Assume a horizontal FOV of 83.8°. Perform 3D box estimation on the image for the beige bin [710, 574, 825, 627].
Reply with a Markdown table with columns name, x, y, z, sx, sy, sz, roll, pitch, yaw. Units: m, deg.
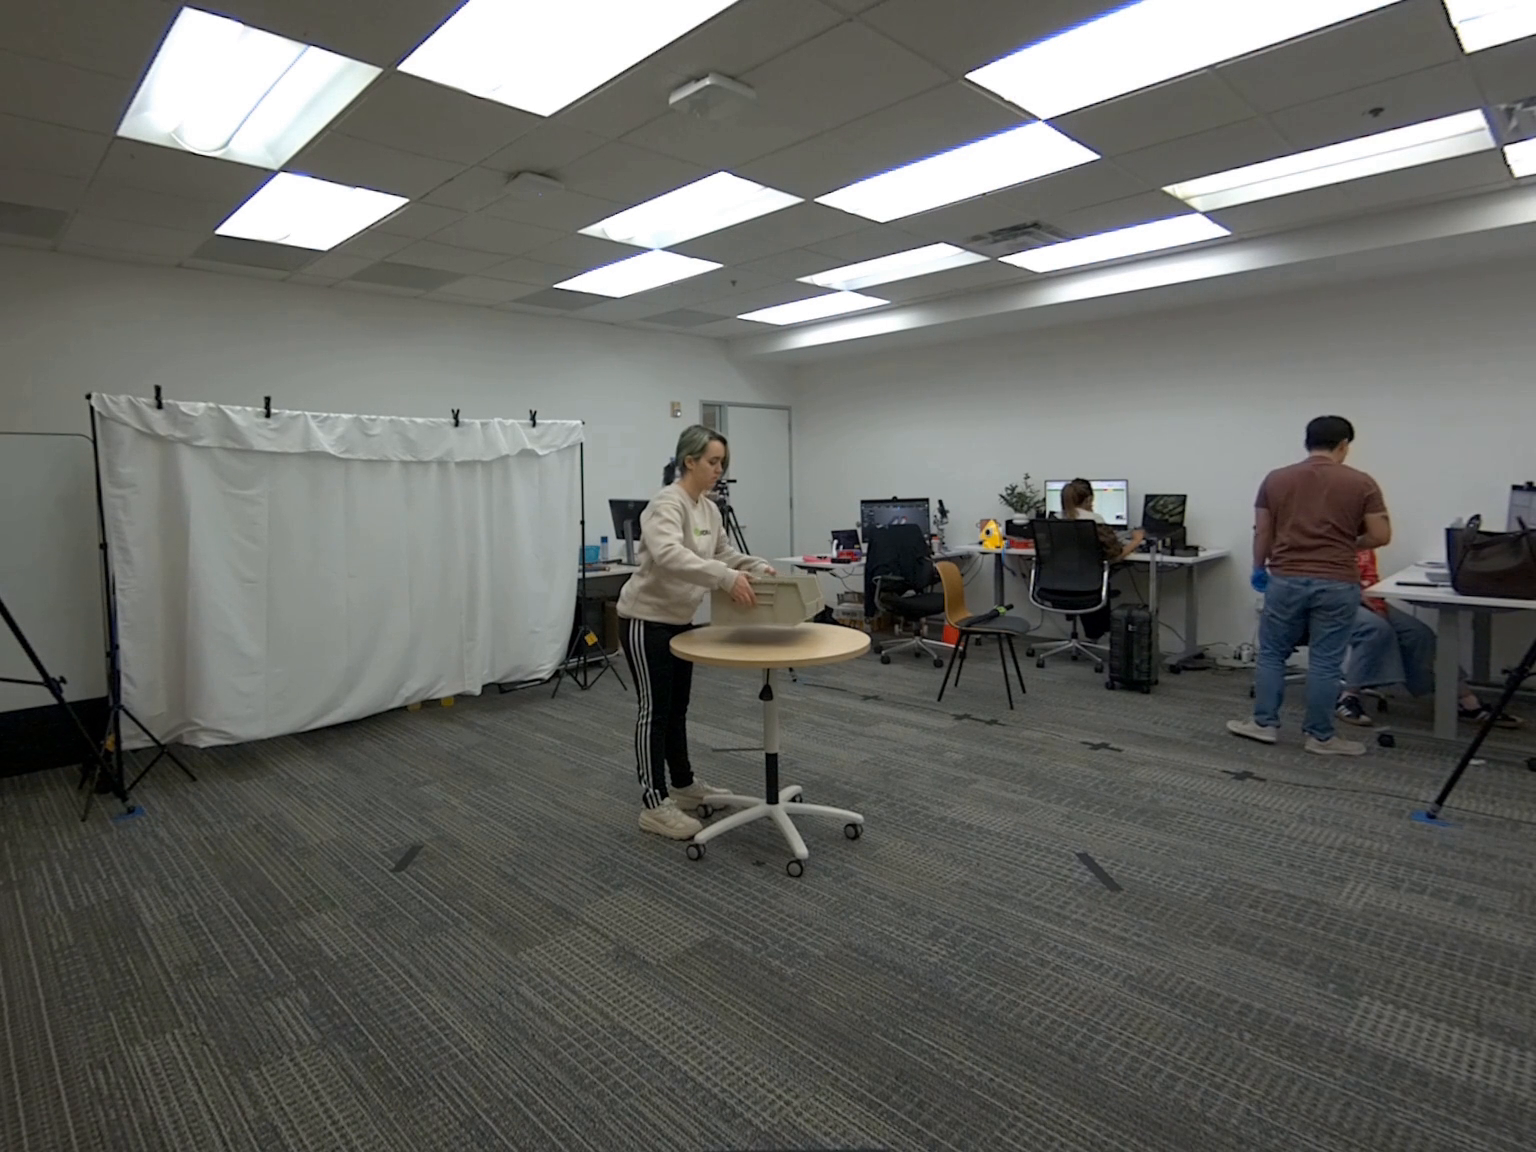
| name | x | y | z | sx | sy | sz | roll | pitch | yaw |
| --- | --- | --- | --- | --- | --- | --- | --- | --- | --- |
| beige bin | 0.008 | 0.086 | 3.321 | 0.383 | 0.188 | 0.418 | 1 | 5 | 14 |
